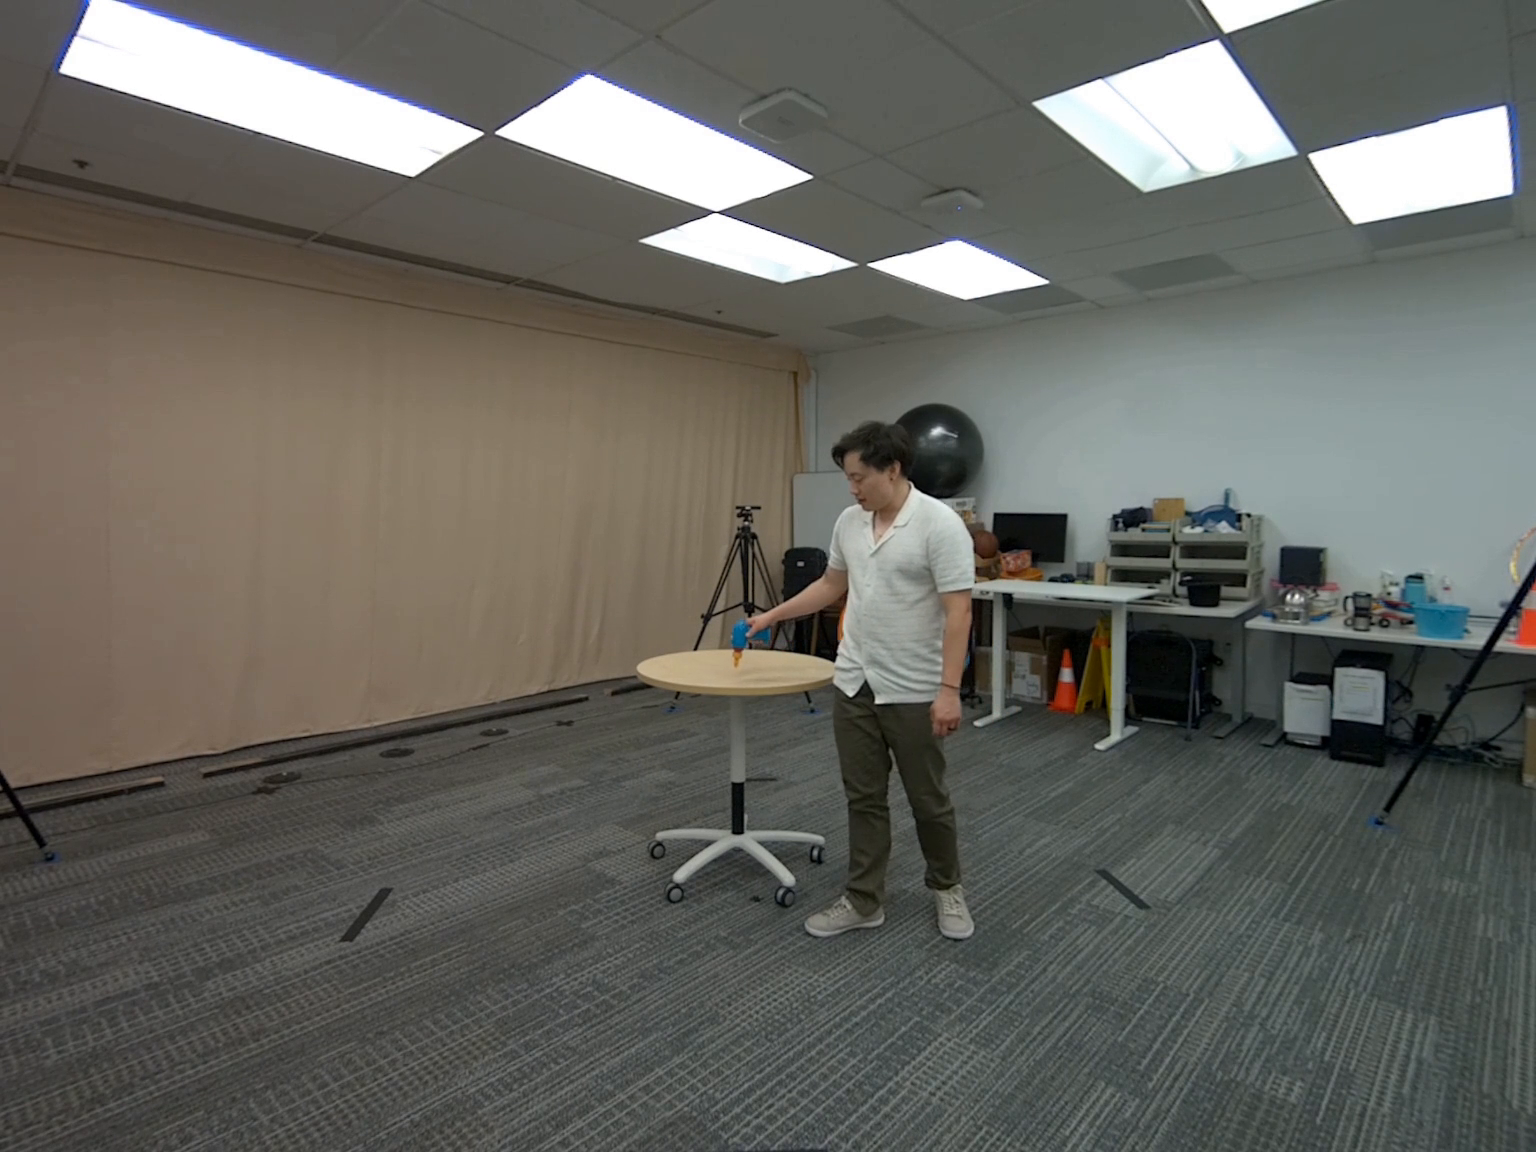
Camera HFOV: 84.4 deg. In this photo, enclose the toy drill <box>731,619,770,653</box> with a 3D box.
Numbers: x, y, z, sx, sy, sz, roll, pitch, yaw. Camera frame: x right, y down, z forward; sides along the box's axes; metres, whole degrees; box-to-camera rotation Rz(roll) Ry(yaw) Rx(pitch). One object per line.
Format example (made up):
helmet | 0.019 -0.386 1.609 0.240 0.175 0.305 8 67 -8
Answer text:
toy drill | -0.052 0.242 2.954 0.144 0.170 0.062 7 -9 -13
